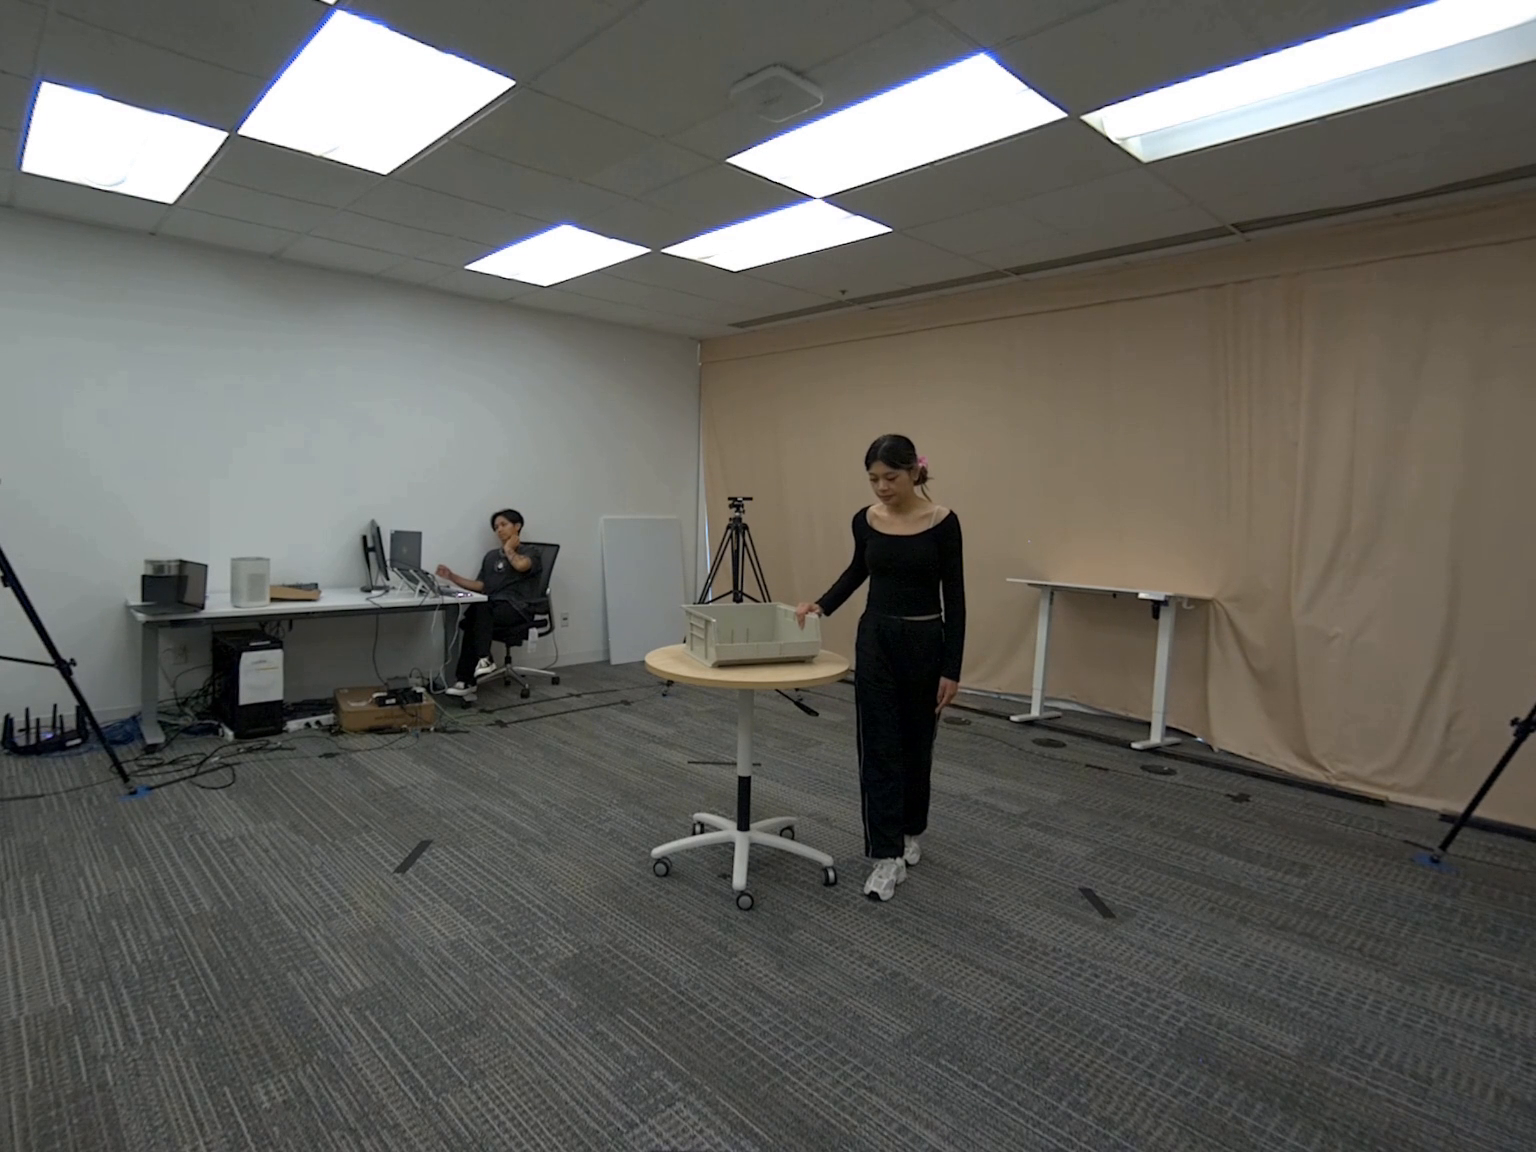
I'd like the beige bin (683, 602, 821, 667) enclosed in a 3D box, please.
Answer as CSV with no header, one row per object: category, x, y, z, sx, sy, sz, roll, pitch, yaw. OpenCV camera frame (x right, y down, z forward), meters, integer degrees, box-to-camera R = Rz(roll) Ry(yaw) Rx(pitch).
beige bin,-0.076,0.219,3.174,0.415,0.188,0.384,-2,5,-23
